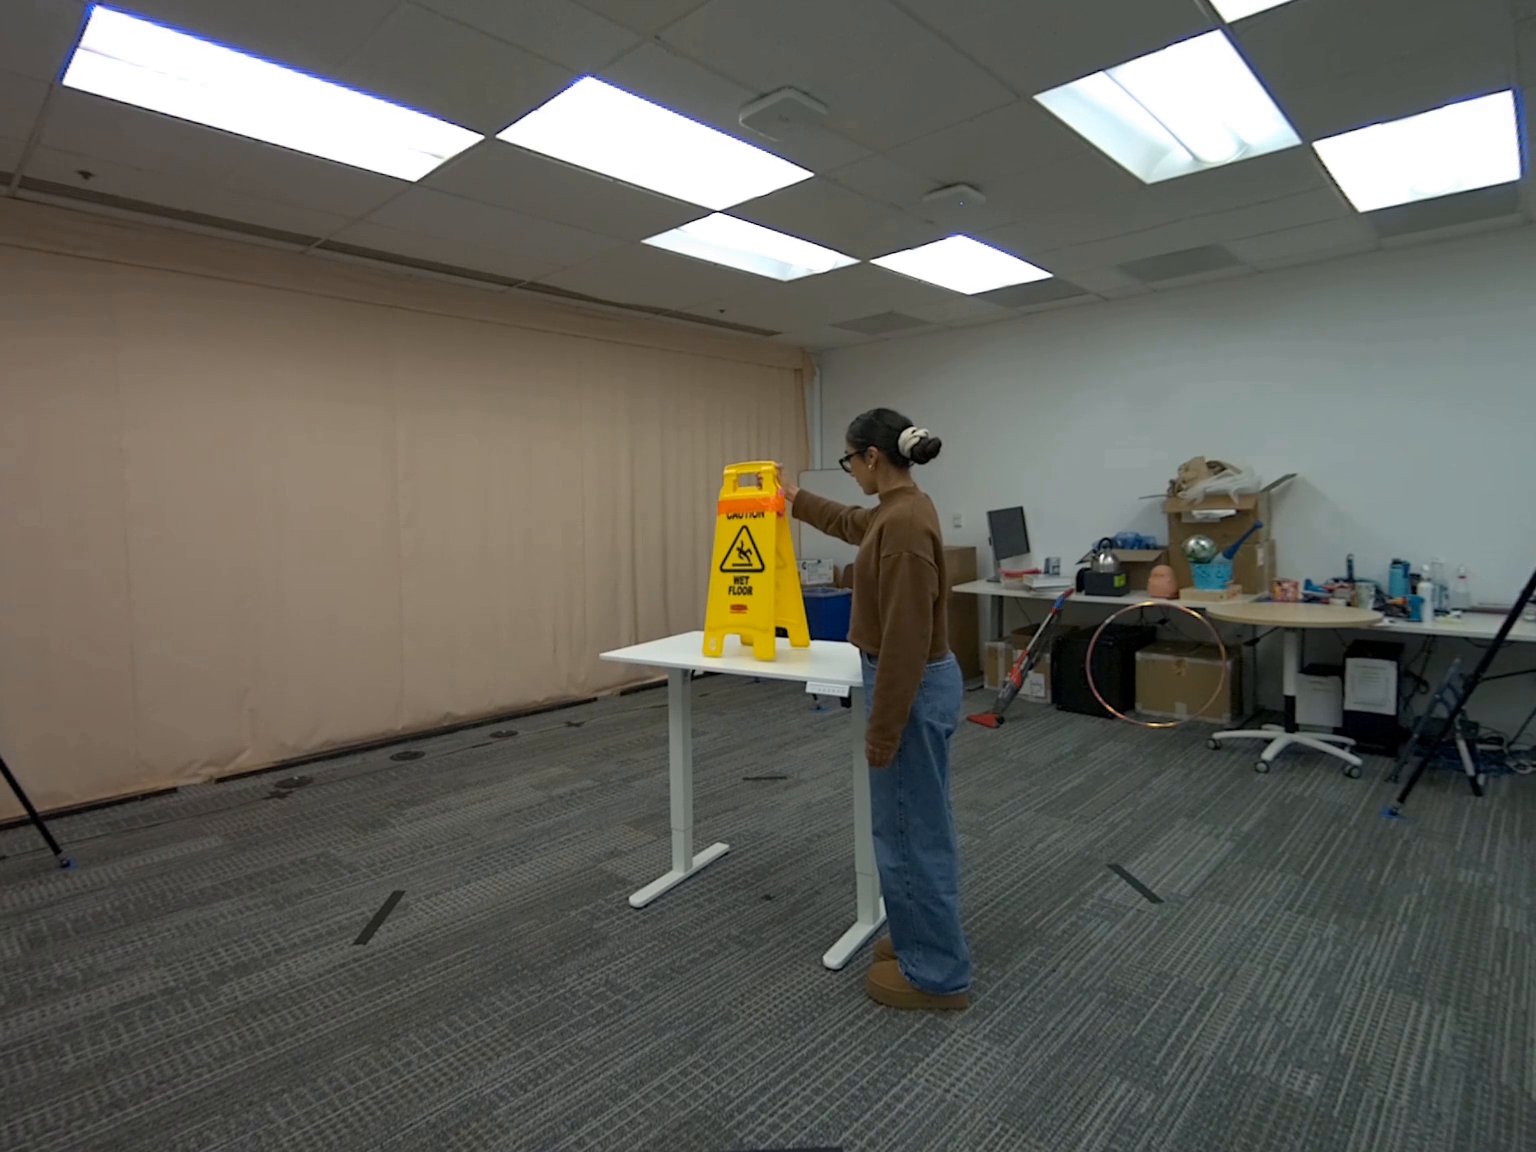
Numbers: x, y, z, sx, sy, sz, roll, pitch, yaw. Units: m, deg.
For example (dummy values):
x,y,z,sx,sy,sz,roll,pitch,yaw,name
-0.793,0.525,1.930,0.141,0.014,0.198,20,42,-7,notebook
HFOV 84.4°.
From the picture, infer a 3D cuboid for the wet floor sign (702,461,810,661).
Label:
x,y,z,sx,sy,sz,roll,pitch,yaw,name
-0.046,-0.061,2.896,0.290,0.646,0.282,-1,1,30,wet floor sign
